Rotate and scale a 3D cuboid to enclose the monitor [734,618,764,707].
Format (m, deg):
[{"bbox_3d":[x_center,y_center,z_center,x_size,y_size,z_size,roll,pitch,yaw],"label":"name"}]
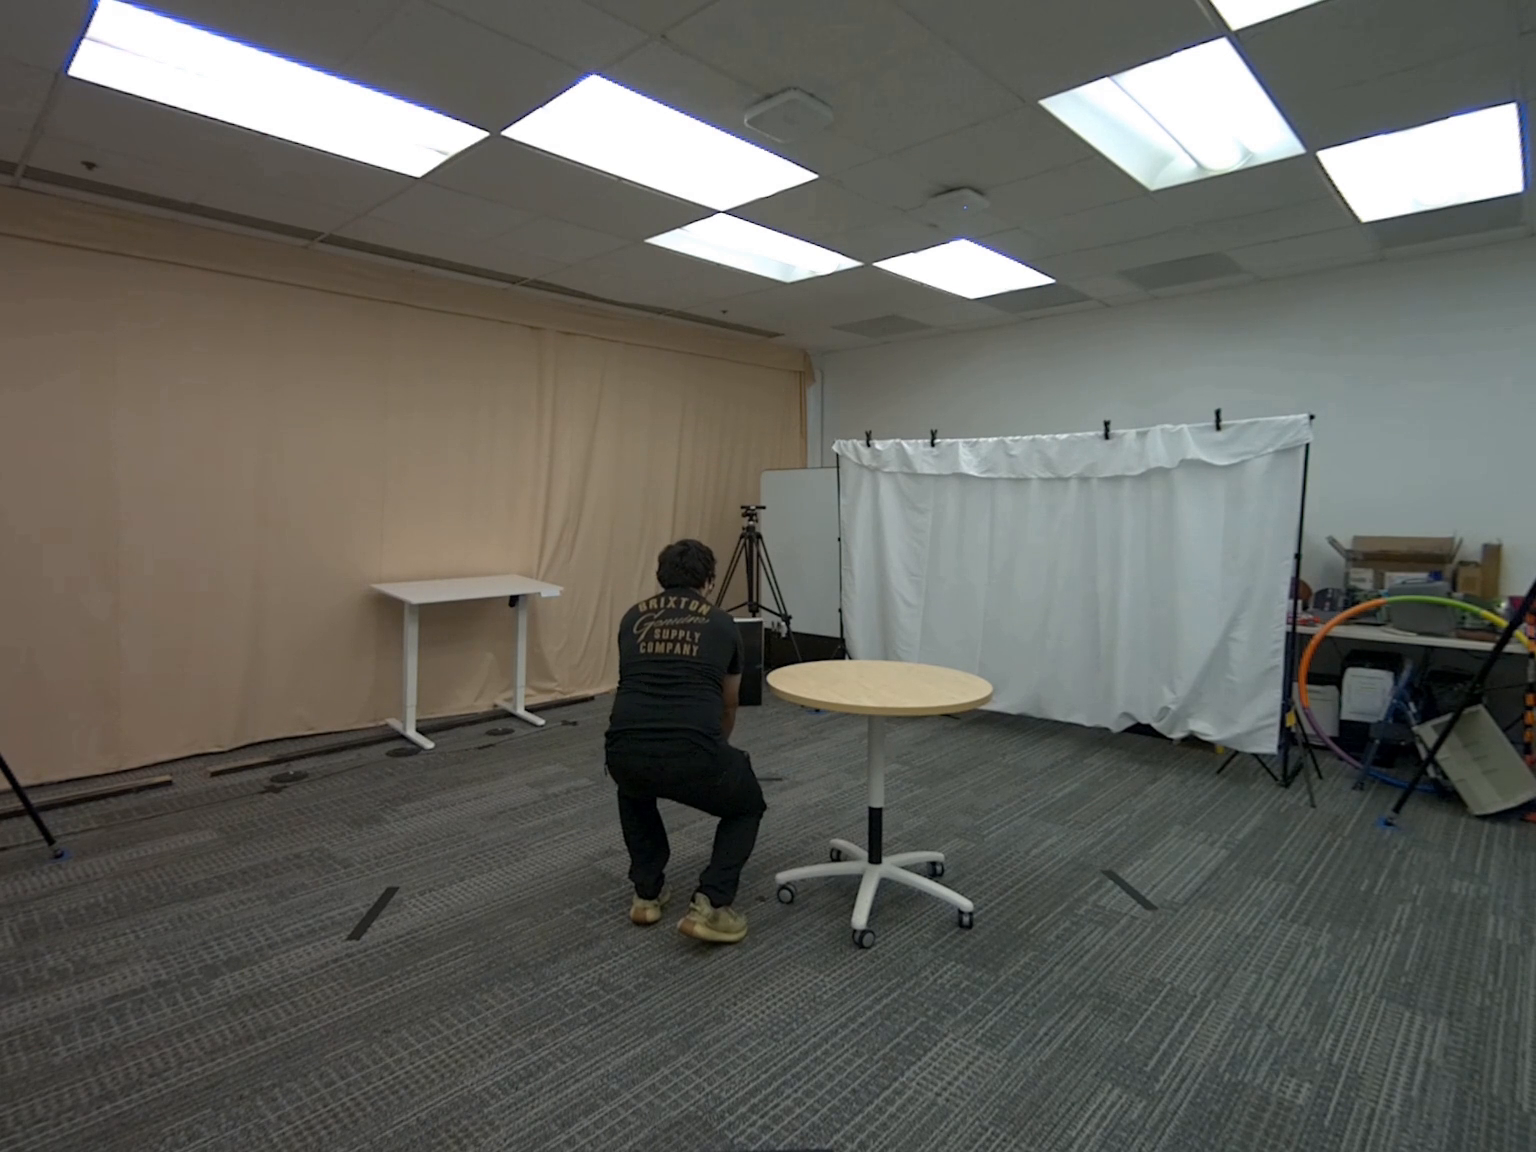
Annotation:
[{"bbox_3d":[-0.287,0.443,3.230,0.564,0.551,0.212,-1,8,-3],"label":"monitor"}]
